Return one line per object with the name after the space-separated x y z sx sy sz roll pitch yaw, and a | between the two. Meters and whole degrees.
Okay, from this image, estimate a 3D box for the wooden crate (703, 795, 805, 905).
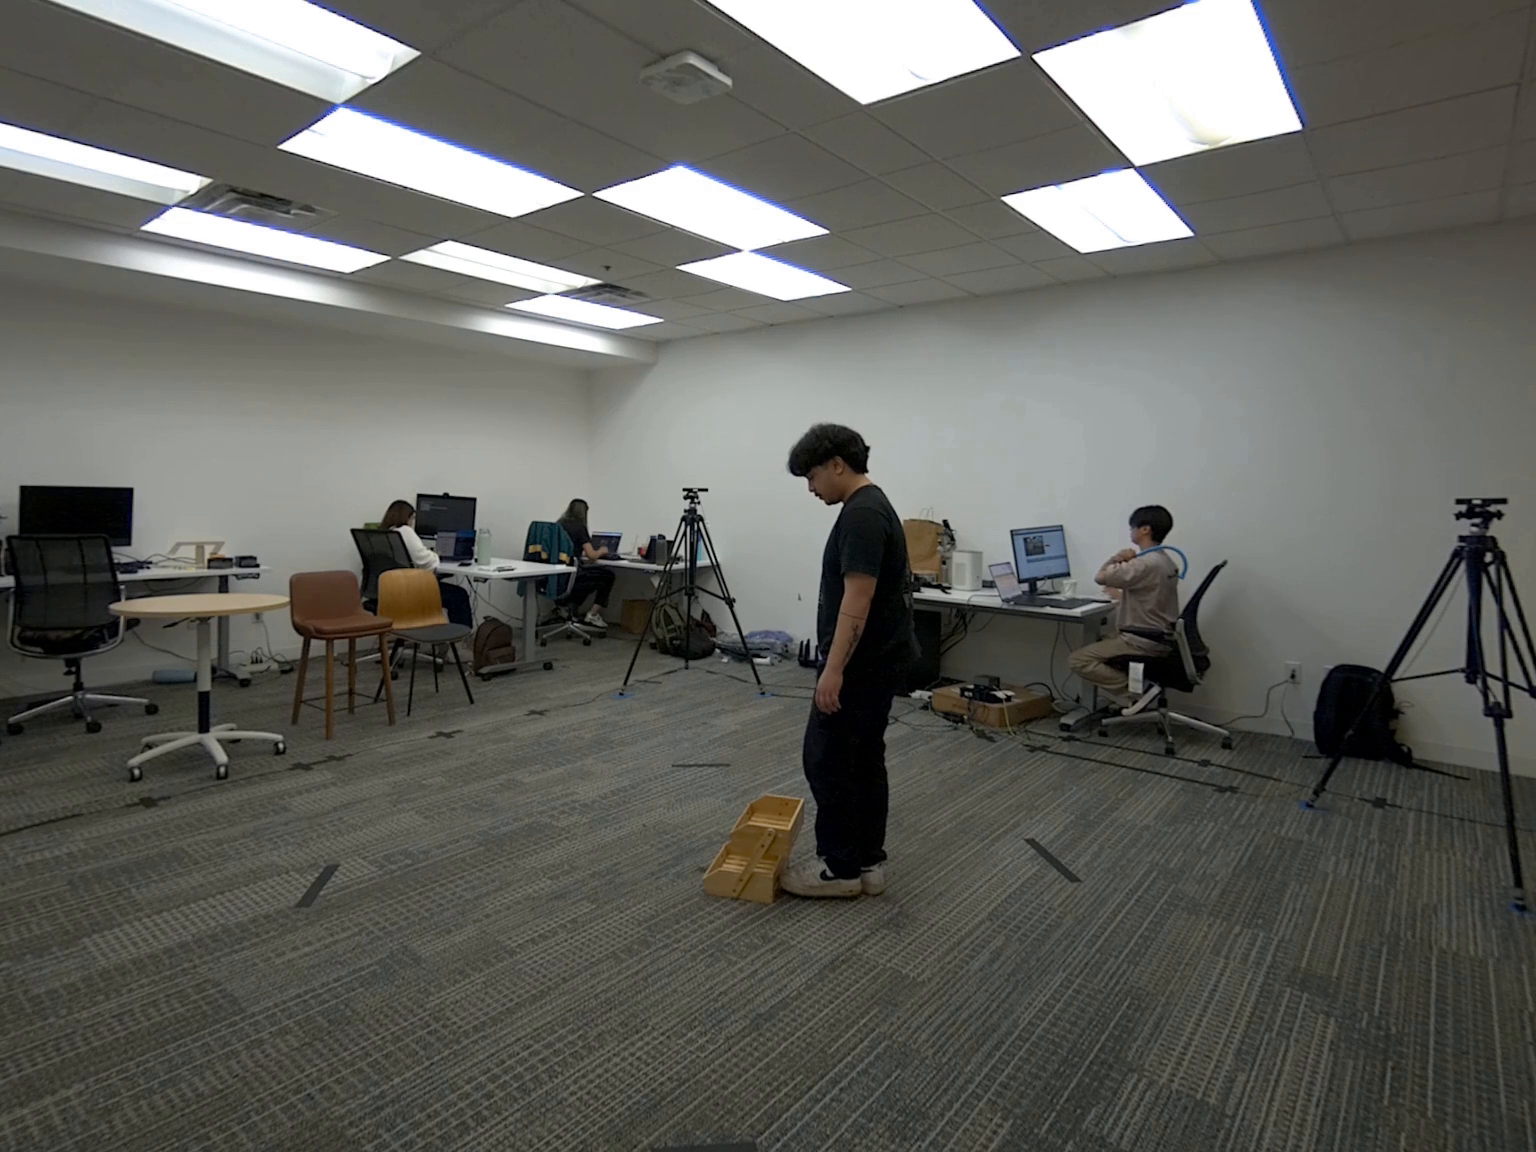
-0.058 0.943 3.024 0.307 0.272 0.321 3 4 13 | wooden crate
